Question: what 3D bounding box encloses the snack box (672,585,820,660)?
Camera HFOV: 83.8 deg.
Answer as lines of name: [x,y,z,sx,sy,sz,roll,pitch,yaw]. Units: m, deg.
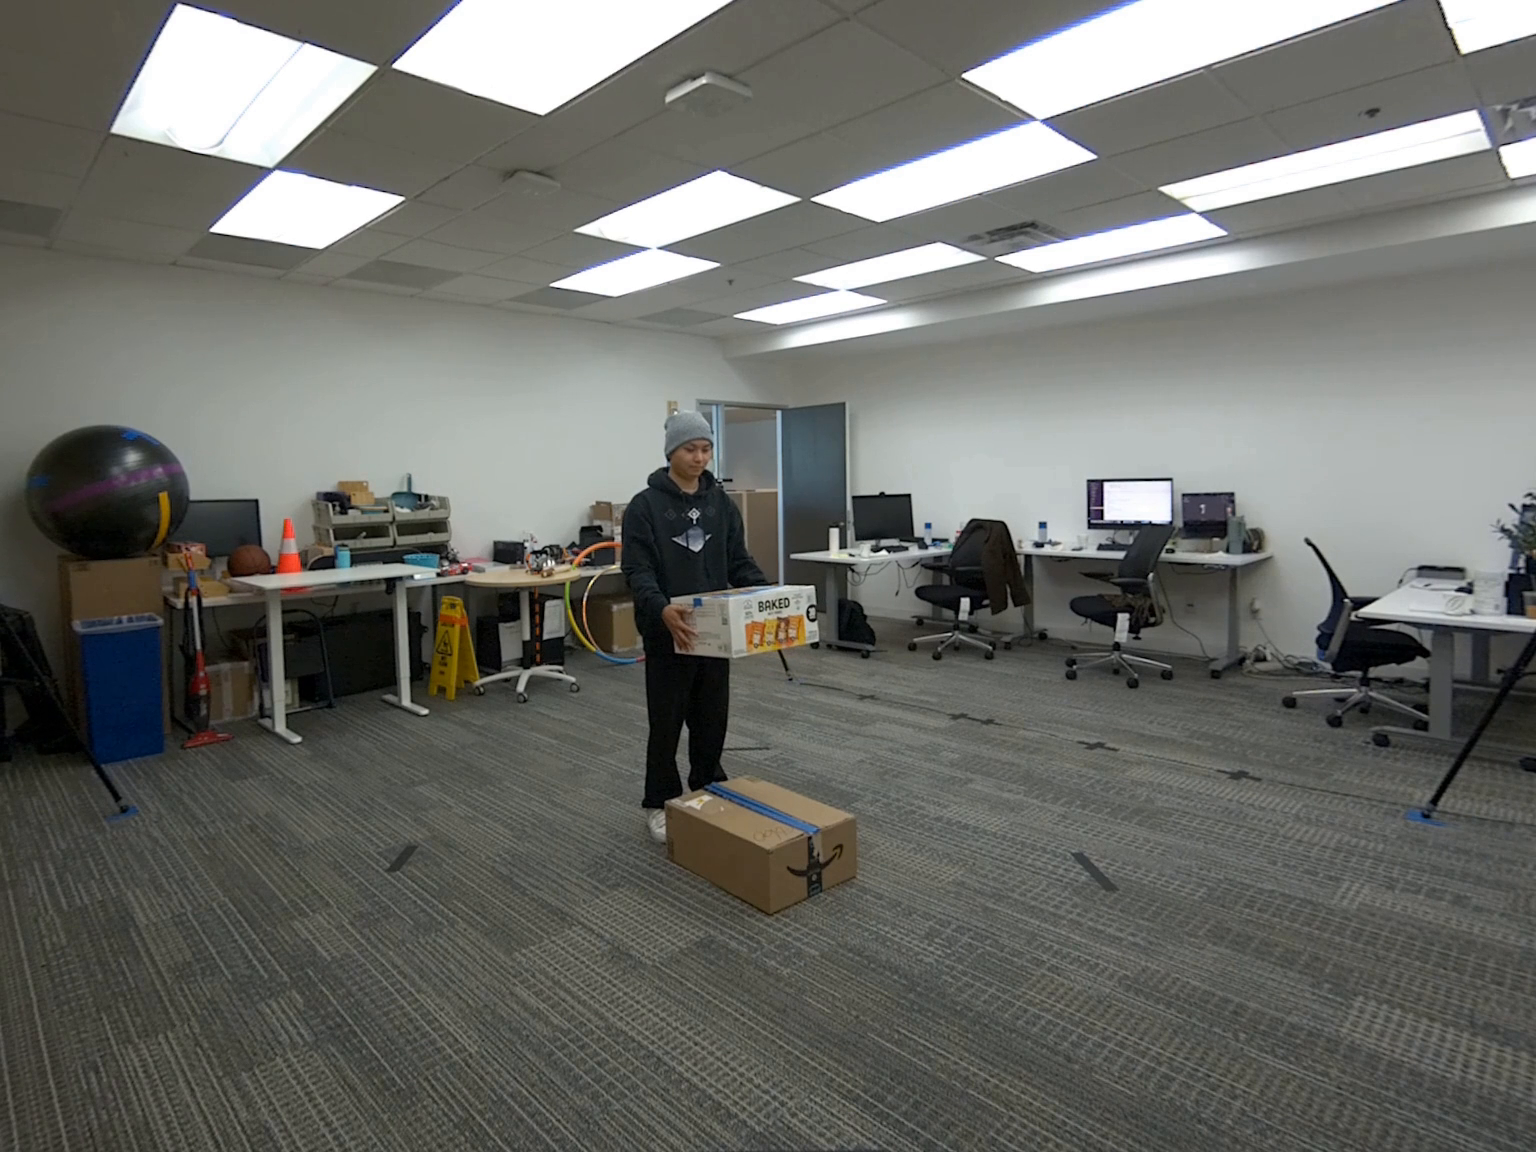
snack box: [-0.083,0.159,3.080,0.395,0.205,0.349,-6,2,-39]
